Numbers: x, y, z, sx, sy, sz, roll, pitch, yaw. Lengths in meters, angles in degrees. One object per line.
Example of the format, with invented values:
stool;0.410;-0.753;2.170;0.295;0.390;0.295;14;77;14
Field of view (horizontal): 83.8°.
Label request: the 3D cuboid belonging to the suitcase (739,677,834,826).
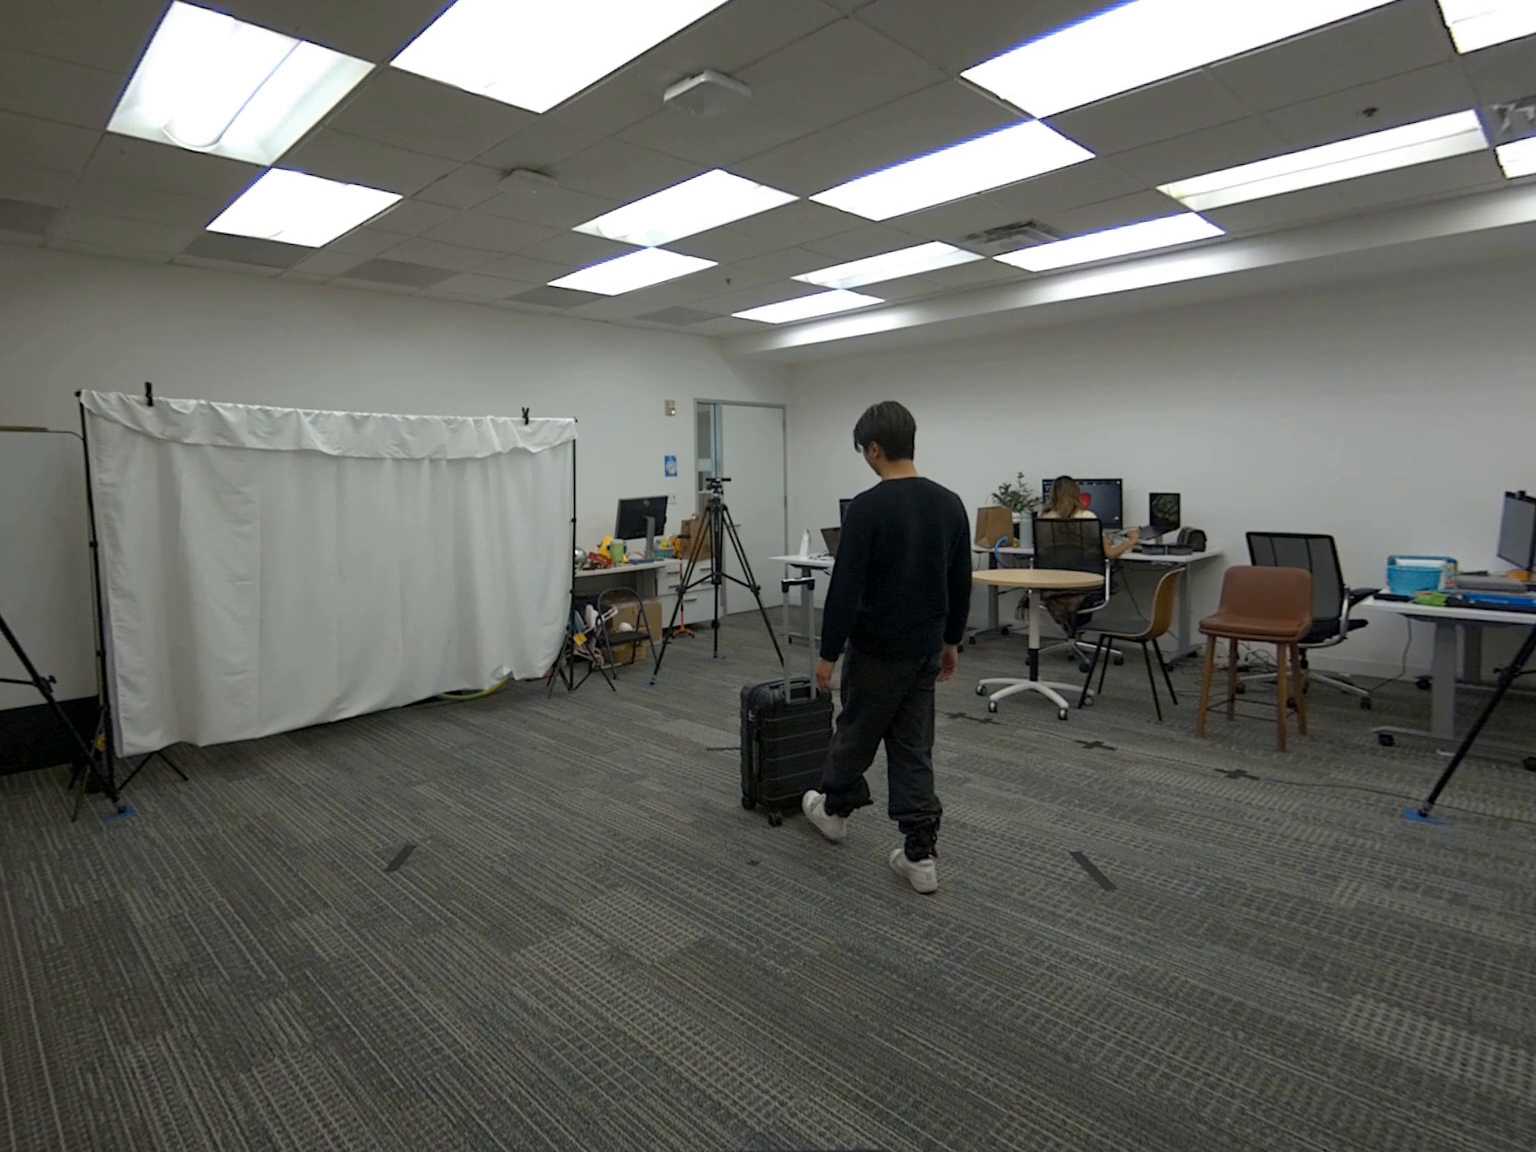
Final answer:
suitcase;0.073;0.507;3.604;0.375;0.977;0.263;-3;2;-29
